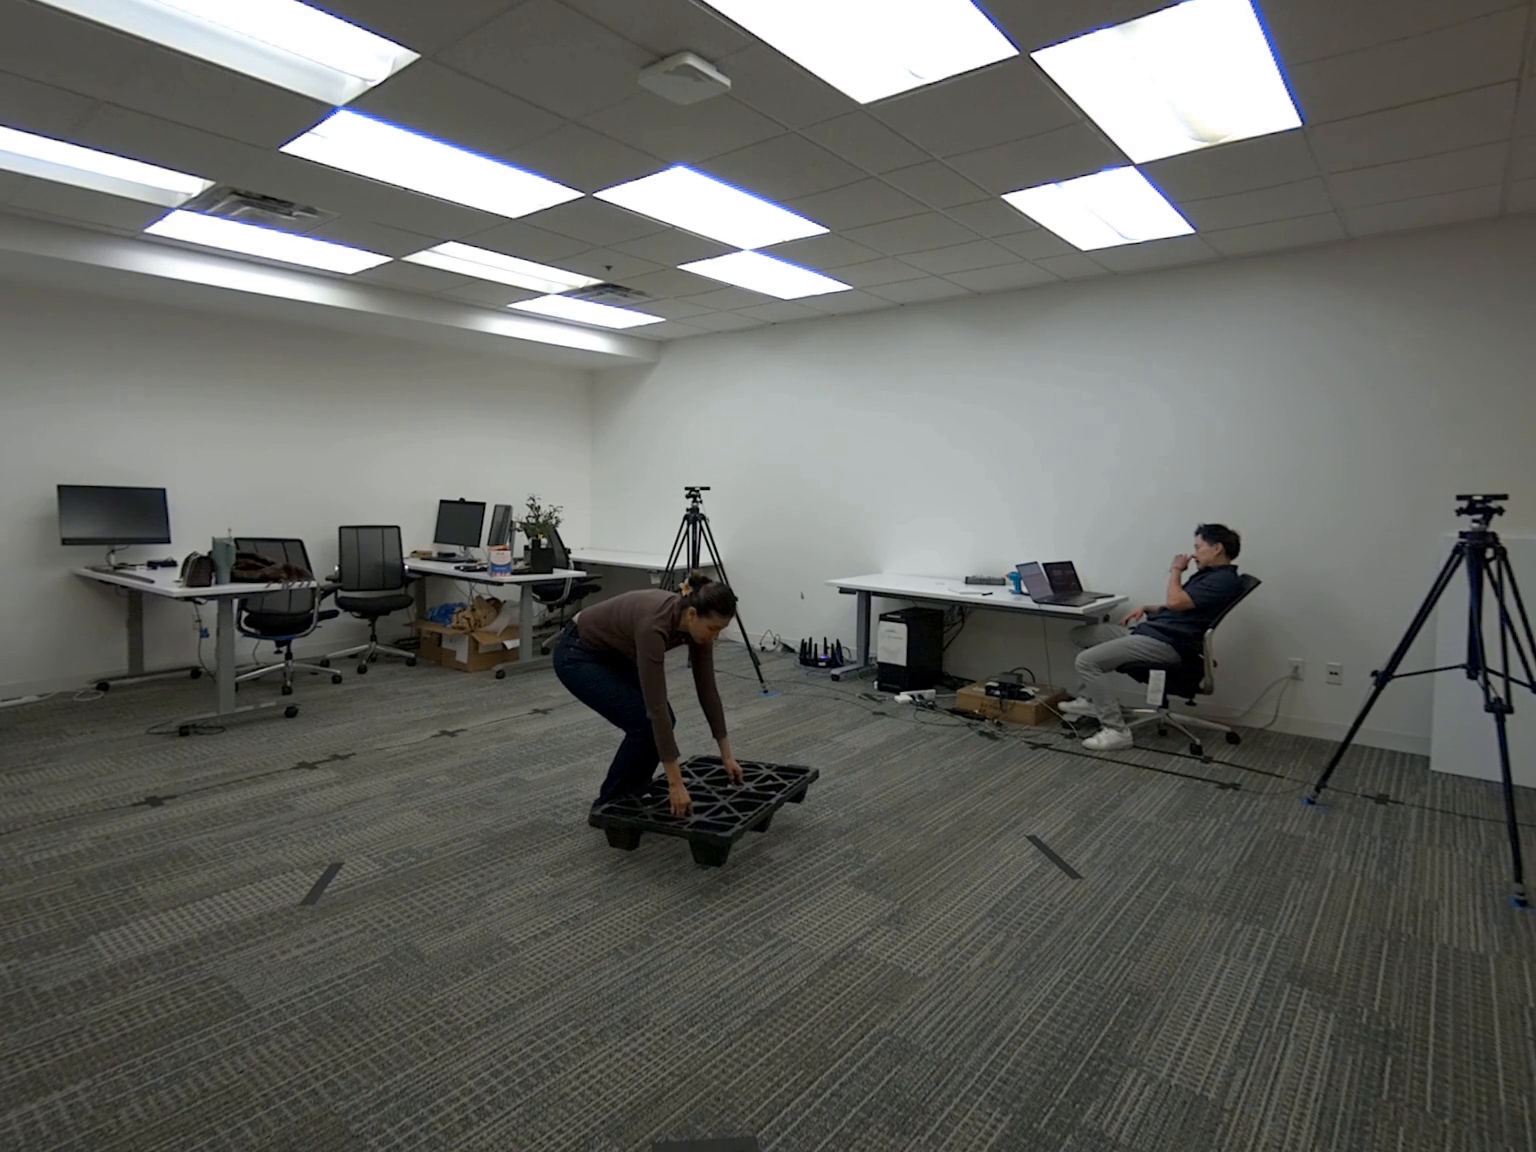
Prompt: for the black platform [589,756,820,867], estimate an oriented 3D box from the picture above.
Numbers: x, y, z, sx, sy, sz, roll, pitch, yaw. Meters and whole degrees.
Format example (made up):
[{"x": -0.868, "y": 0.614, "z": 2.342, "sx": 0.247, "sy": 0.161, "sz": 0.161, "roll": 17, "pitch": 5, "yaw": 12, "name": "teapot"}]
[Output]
[{"x": -0.224, "y": 0.899, "z": 3.353, "sx": 0.621, "sy": 0.143, "sz": 0.787, "roll": 0, "pitch": 6, "yaw": 28, "name": "black platform"}]
